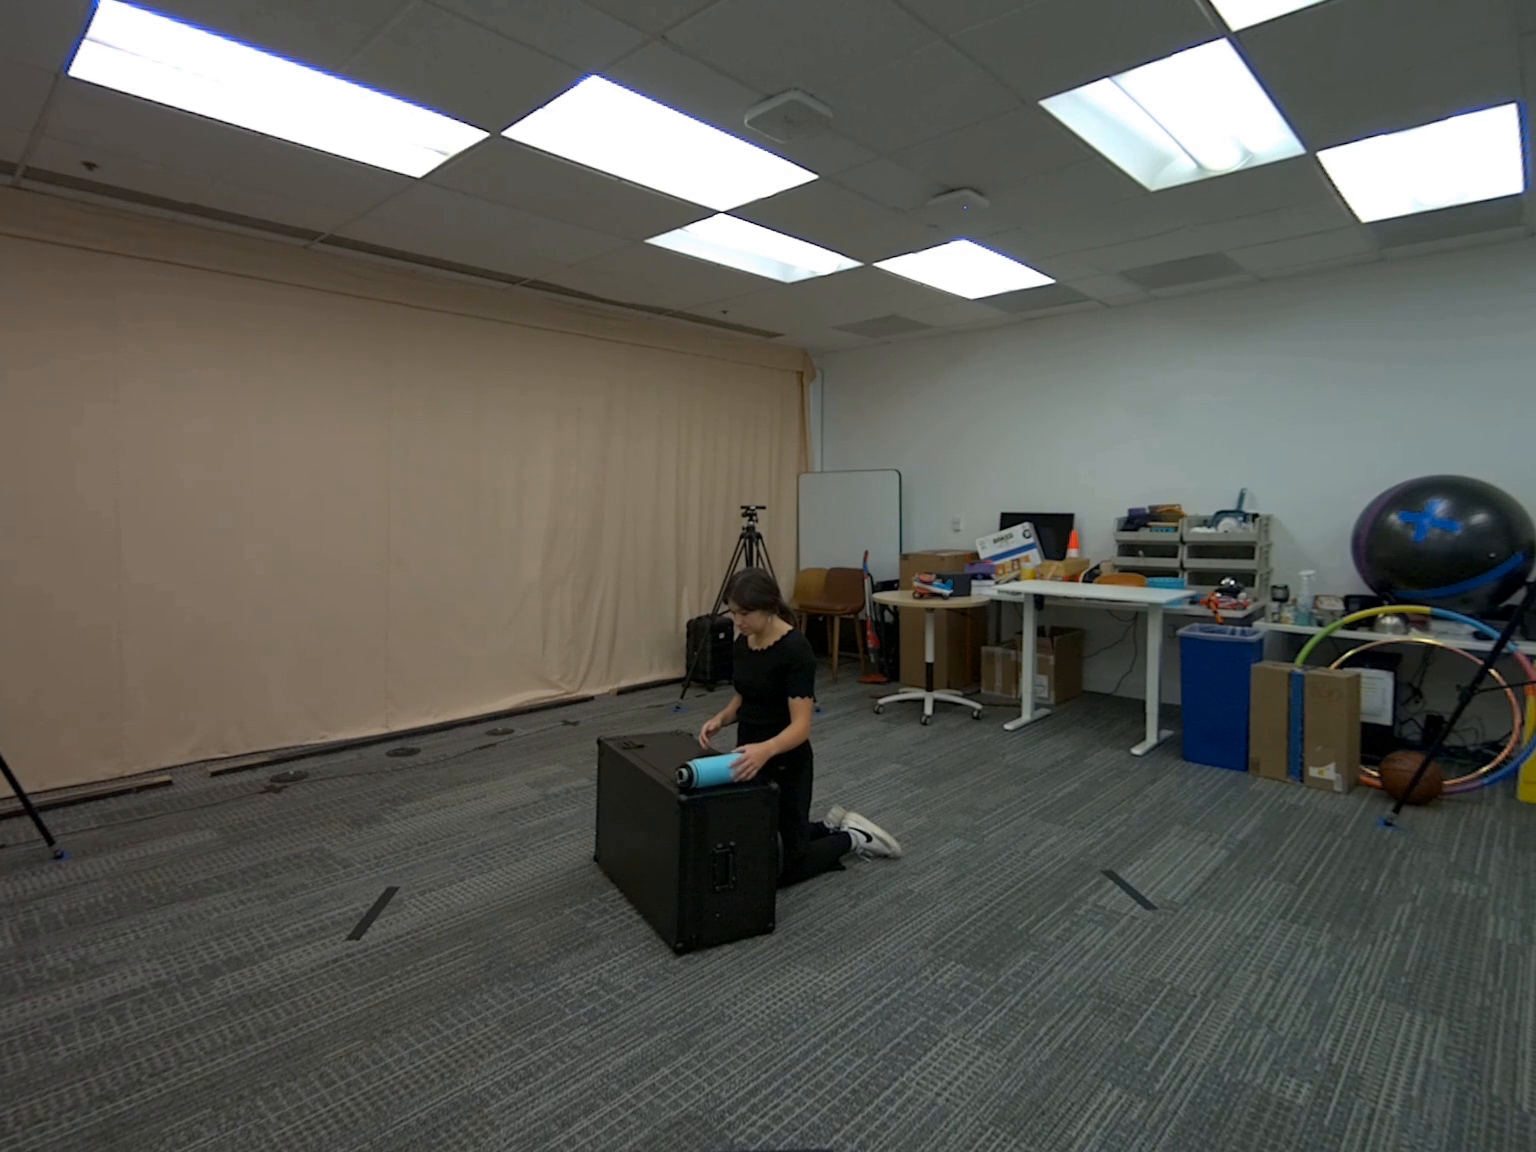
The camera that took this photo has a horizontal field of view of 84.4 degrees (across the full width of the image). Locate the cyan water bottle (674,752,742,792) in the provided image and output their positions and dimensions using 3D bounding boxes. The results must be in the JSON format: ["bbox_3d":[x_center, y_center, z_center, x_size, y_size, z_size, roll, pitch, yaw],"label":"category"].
[{"bbox_3d":[-0.172,0.630,2.719,0.275,0.092,0.095,1,2,-35],"label":"cyan water bottle"}]
